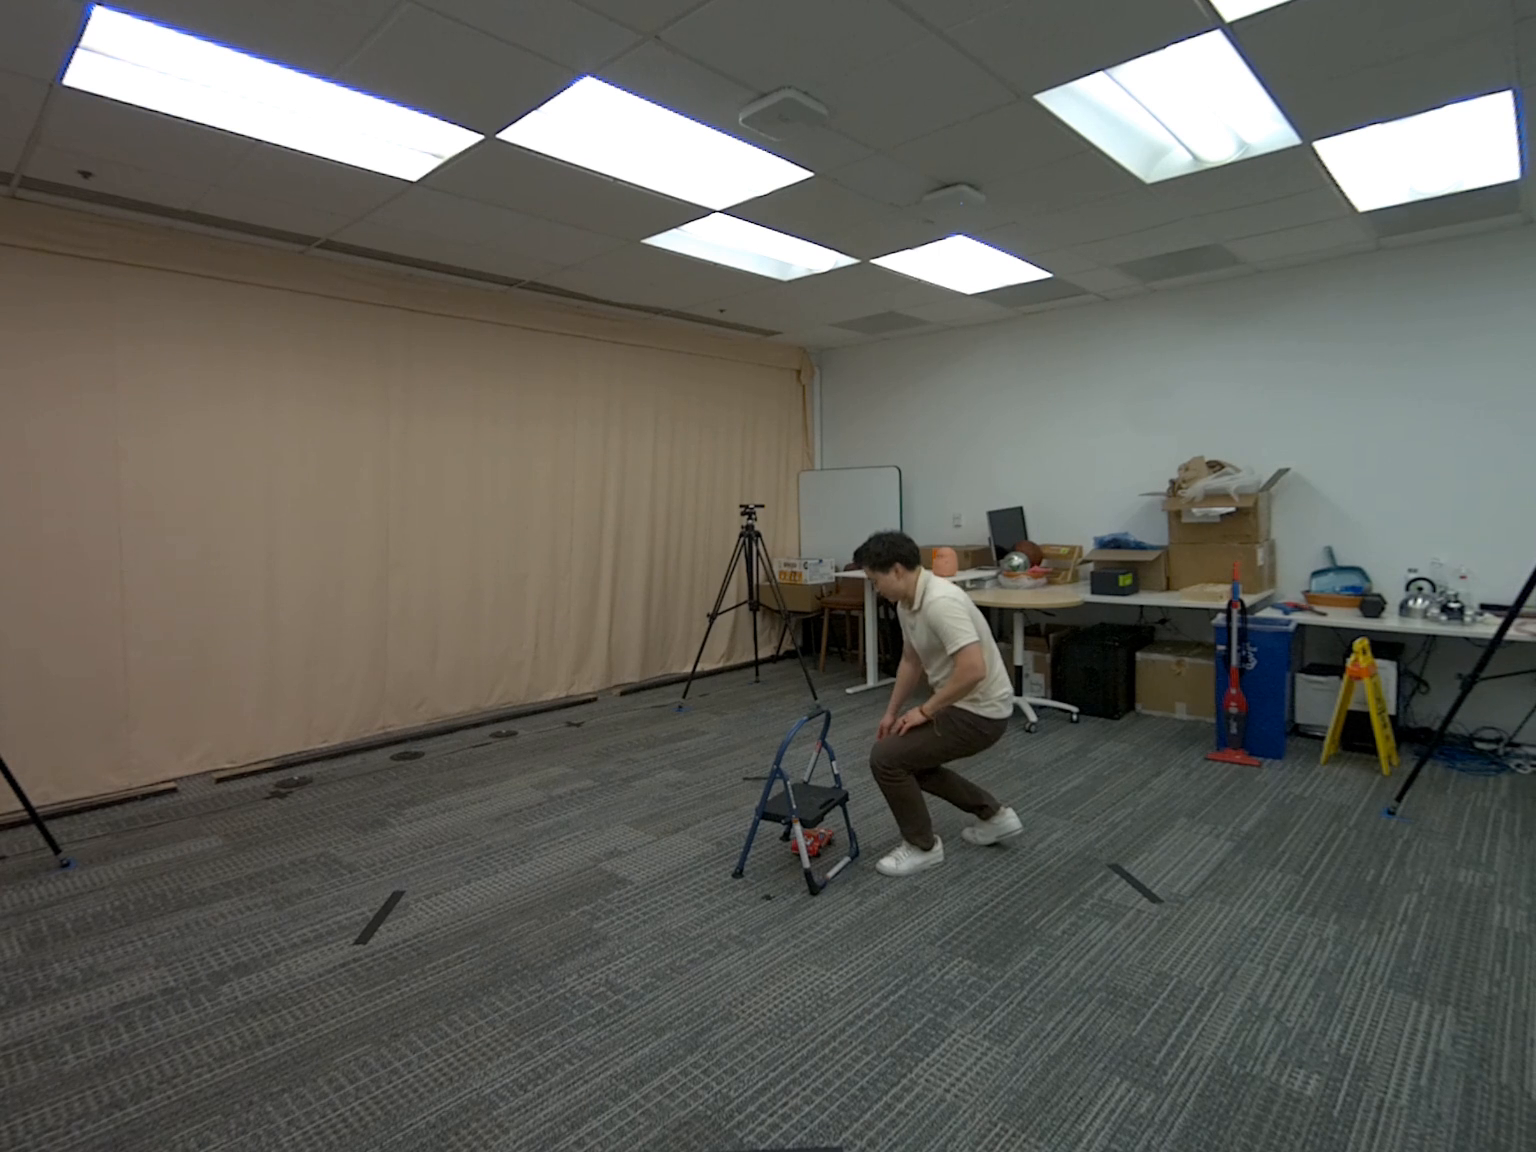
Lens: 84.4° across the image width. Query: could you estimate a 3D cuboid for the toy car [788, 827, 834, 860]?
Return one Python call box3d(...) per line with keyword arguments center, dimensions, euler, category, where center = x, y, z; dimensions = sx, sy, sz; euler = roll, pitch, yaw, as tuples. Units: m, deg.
box3d(center=(0.175, 1.073, 3.380), dimensions=(0.134, 0.083, 0.247), euler=(0, -7, 27), category="toy car")
